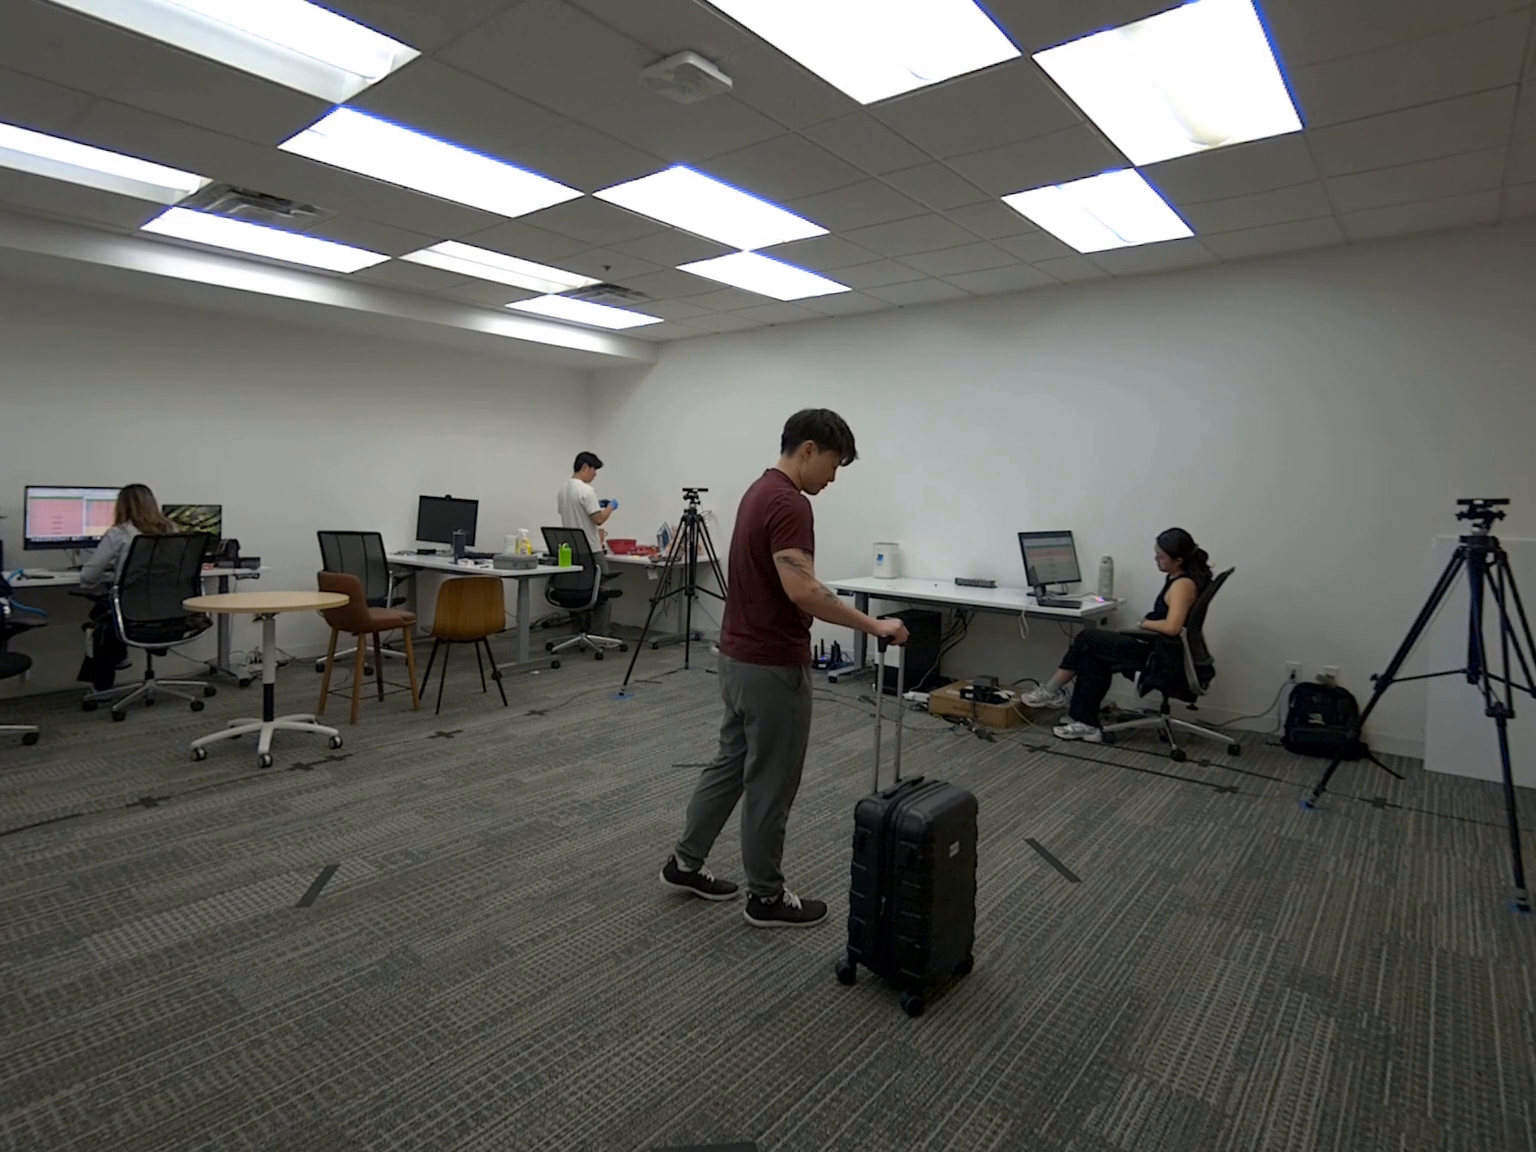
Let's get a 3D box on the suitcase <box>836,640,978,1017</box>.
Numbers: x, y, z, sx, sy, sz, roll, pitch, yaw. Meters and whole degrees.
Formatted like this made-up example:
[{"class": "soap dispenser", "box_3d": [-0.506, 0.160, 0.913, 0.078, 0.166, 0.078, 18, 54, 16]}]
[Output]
[{"class": "suitcase", "box_3d": [0.433, 0.674, 2.431, 0.266, 0.976, 0.372, 6, 4, 39]}]
